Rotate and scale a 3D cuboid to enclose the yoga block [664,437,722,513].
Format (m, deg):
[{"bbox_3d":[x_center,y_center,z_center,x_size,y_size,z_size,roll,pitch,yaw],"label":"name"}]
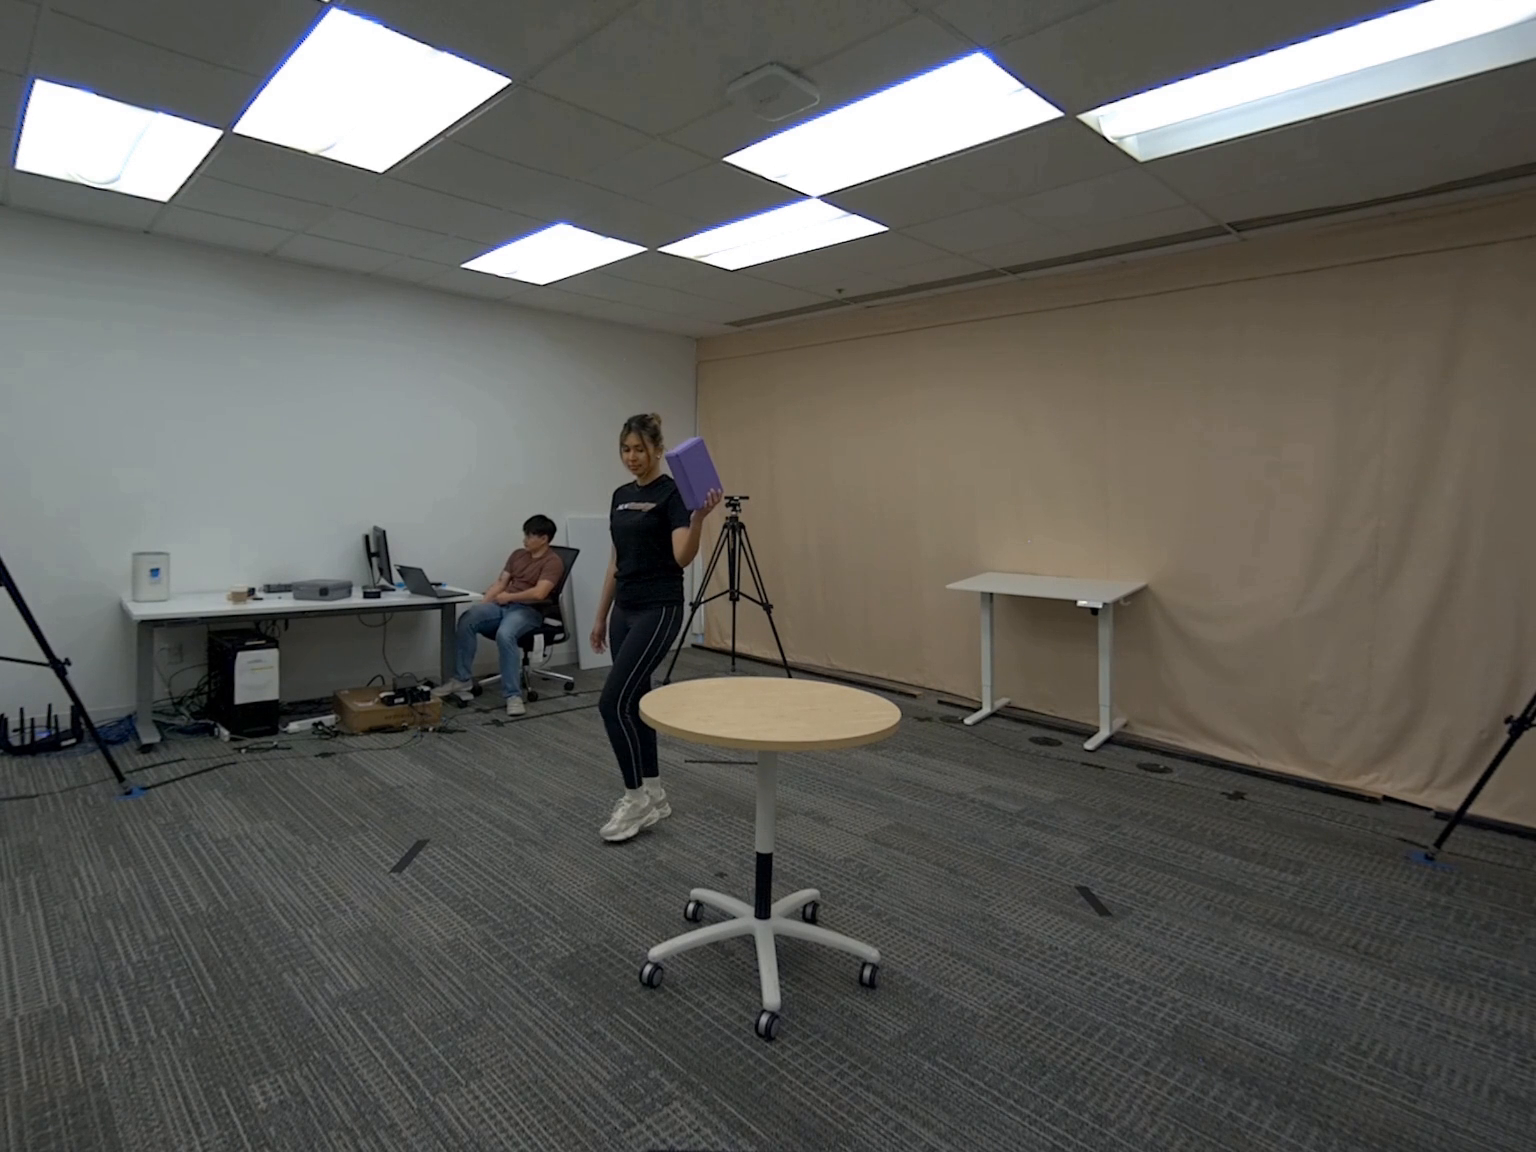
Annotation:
[{"bbox_3d":[-0.273,-0.371,3.063,0.078,0.225,0.148,1,30,45],"label":"yoga block"}]
